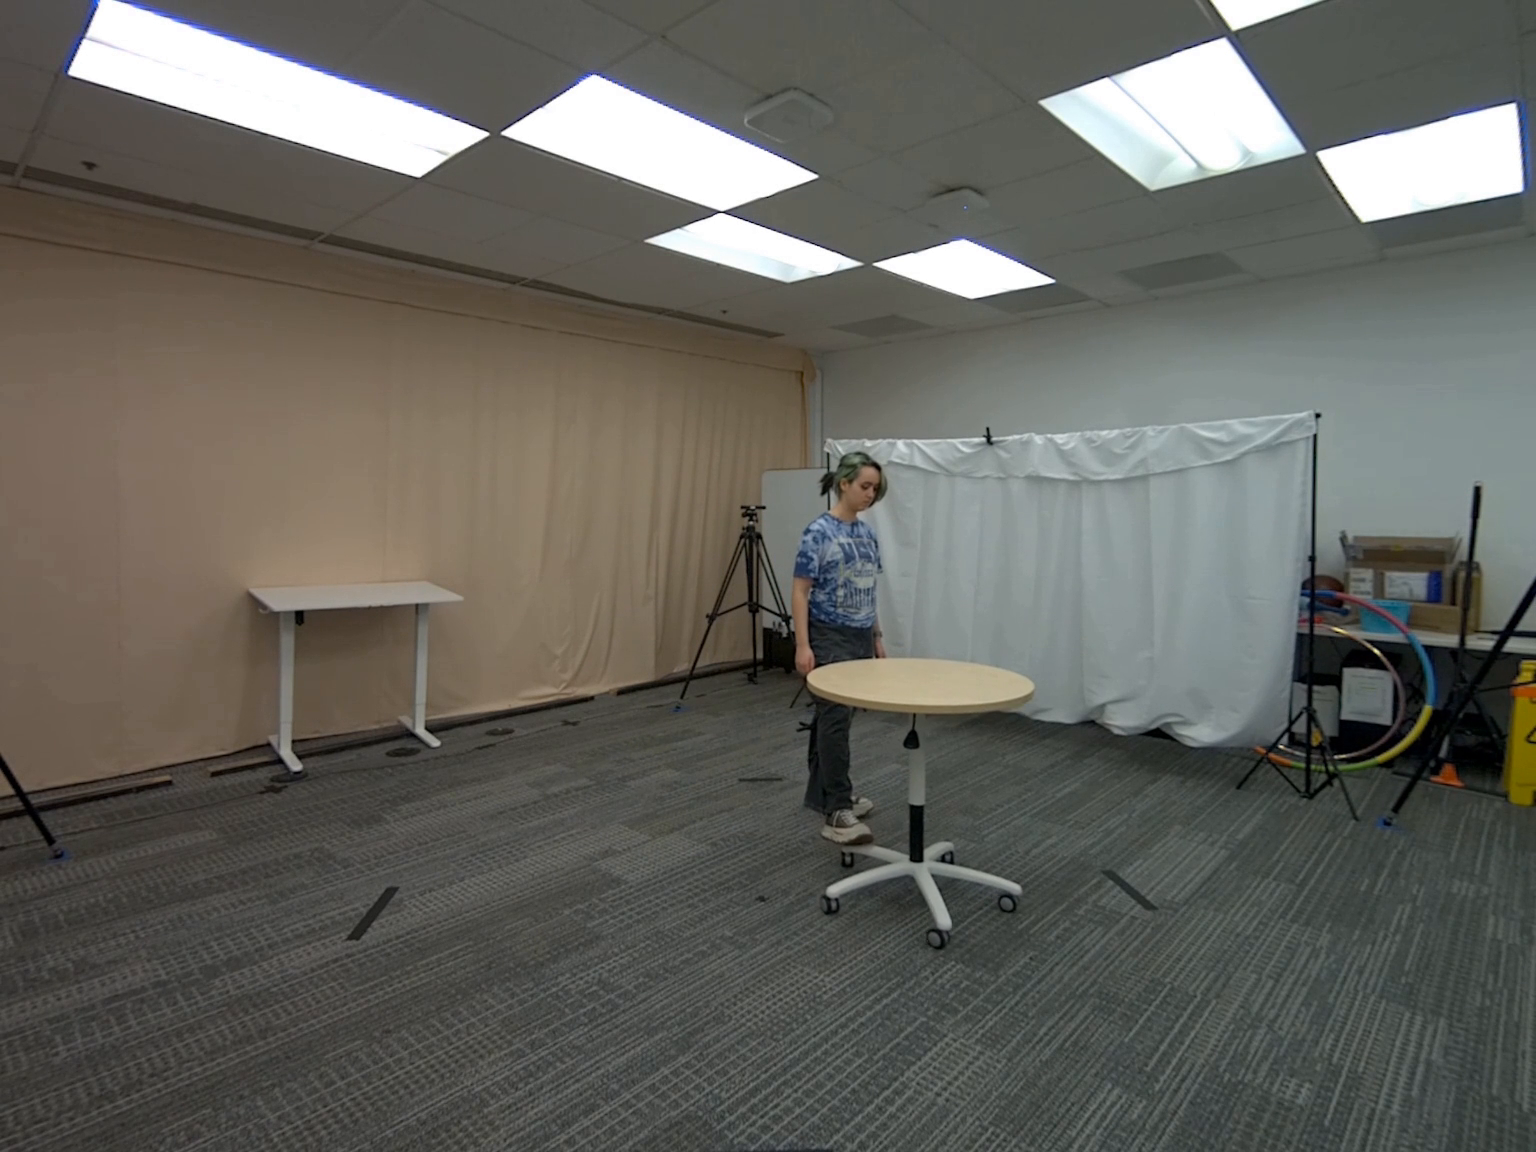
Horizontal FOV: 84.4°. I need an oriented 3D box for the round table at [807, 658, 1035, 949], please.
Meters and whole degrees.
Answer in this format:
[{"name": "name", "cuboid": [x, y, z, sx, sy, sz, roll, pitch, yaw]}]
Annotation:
[{"name": "round table", "cuboid": [0.517, 0.750, 2.961, 0.763, 0.792, 0.767, 0, 4, -2]}]
